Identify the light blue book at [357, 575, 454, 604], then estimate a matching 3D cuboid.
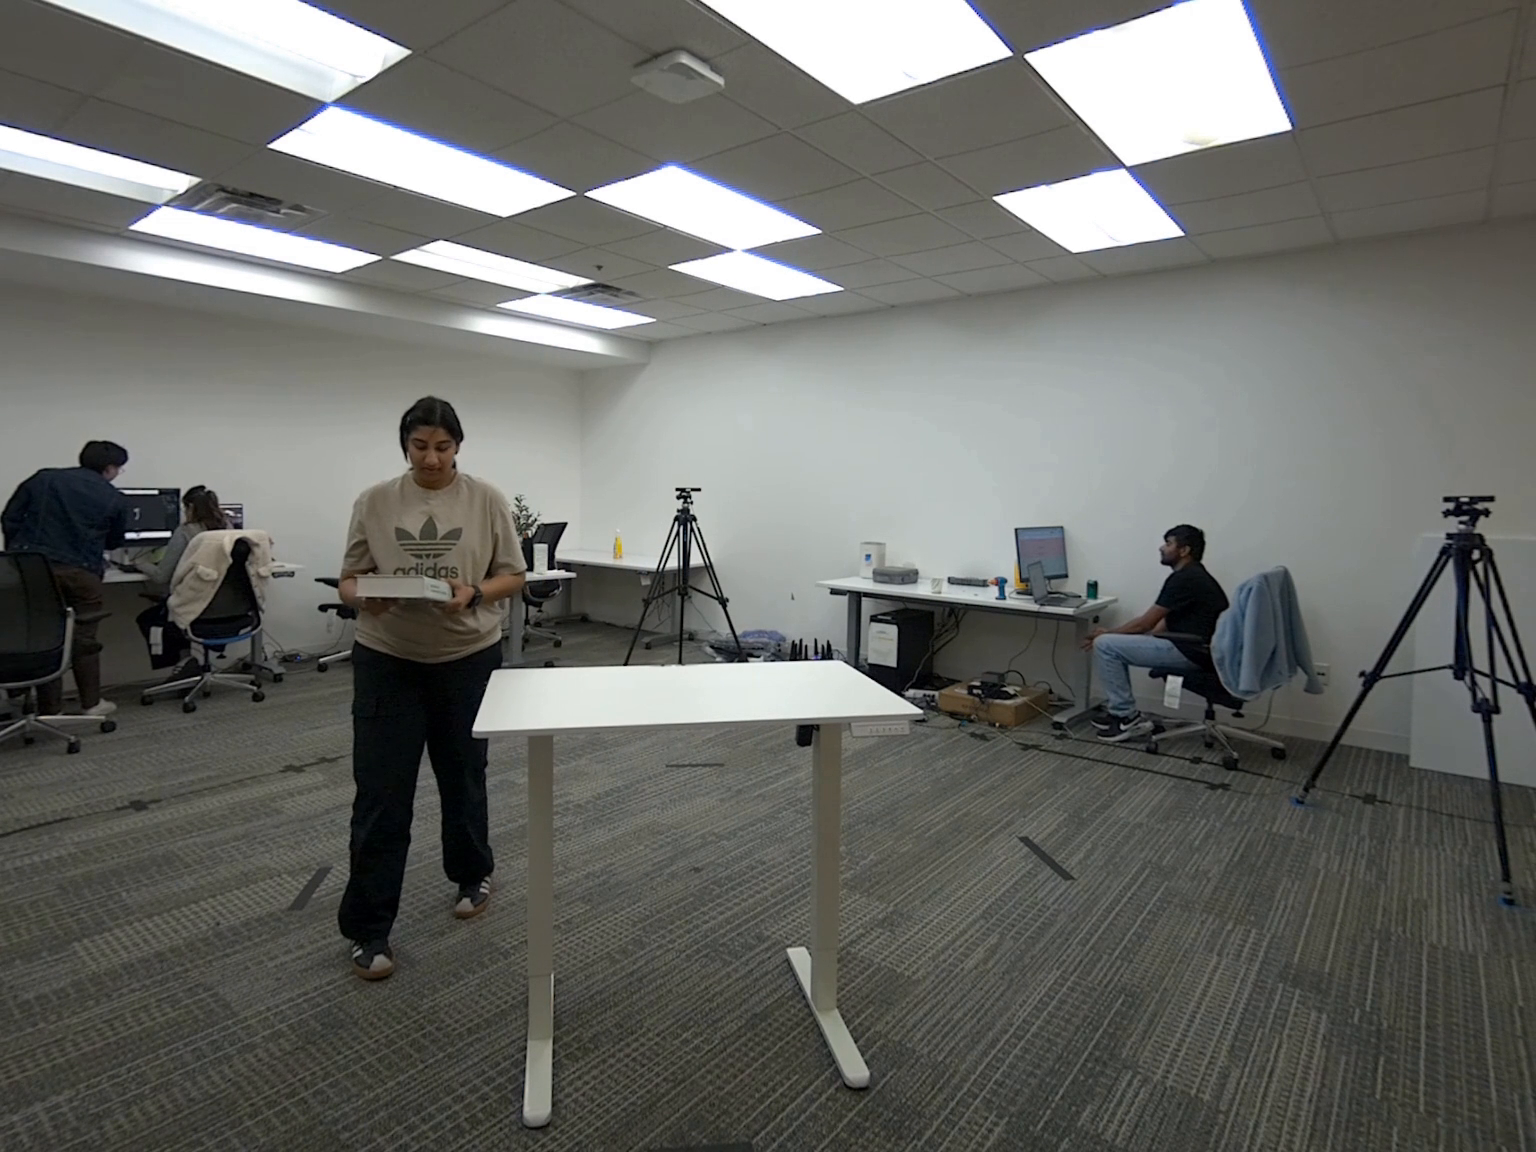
[{"bbox_3d":[-1.035,0.038,2.364,0.191,0.059,0.259,1,-5,-2],"label":"light blue book"}]
